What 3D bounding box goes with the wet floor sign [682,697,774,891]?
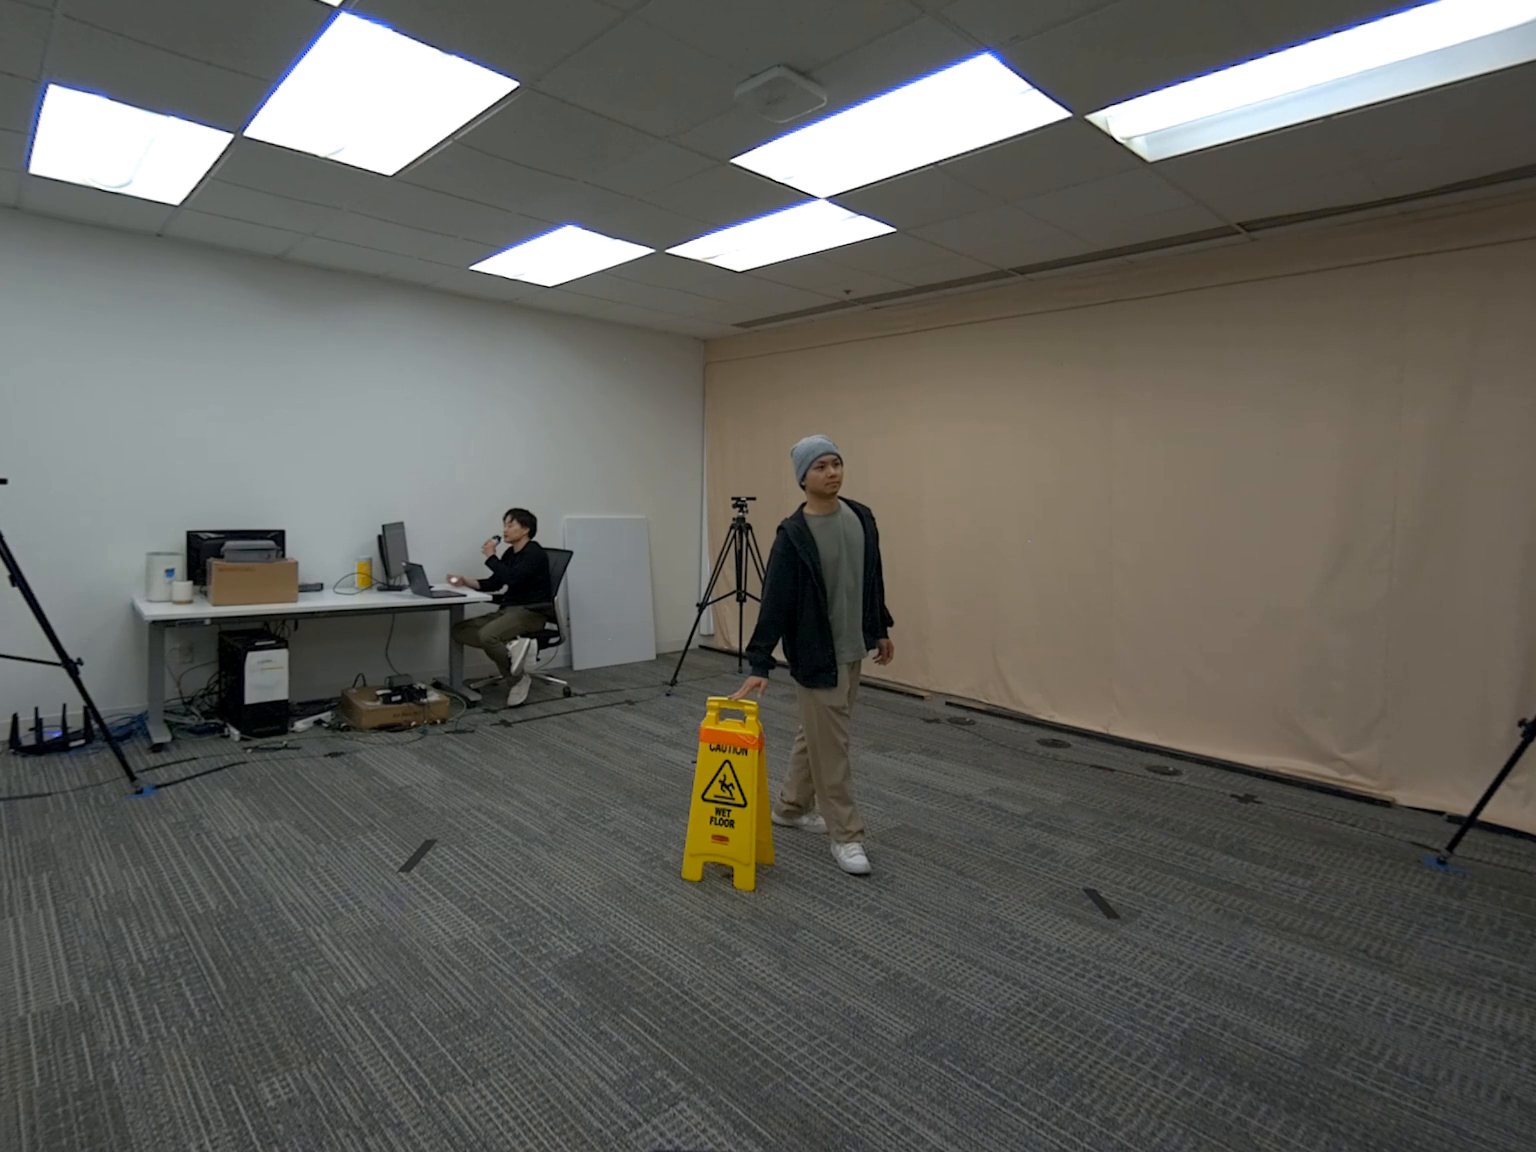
[{"bbox_3d":[-0.143,0.781,3.135,0.286,0.644,0.286,3,3,18],"label":"wet floor sign"}]
